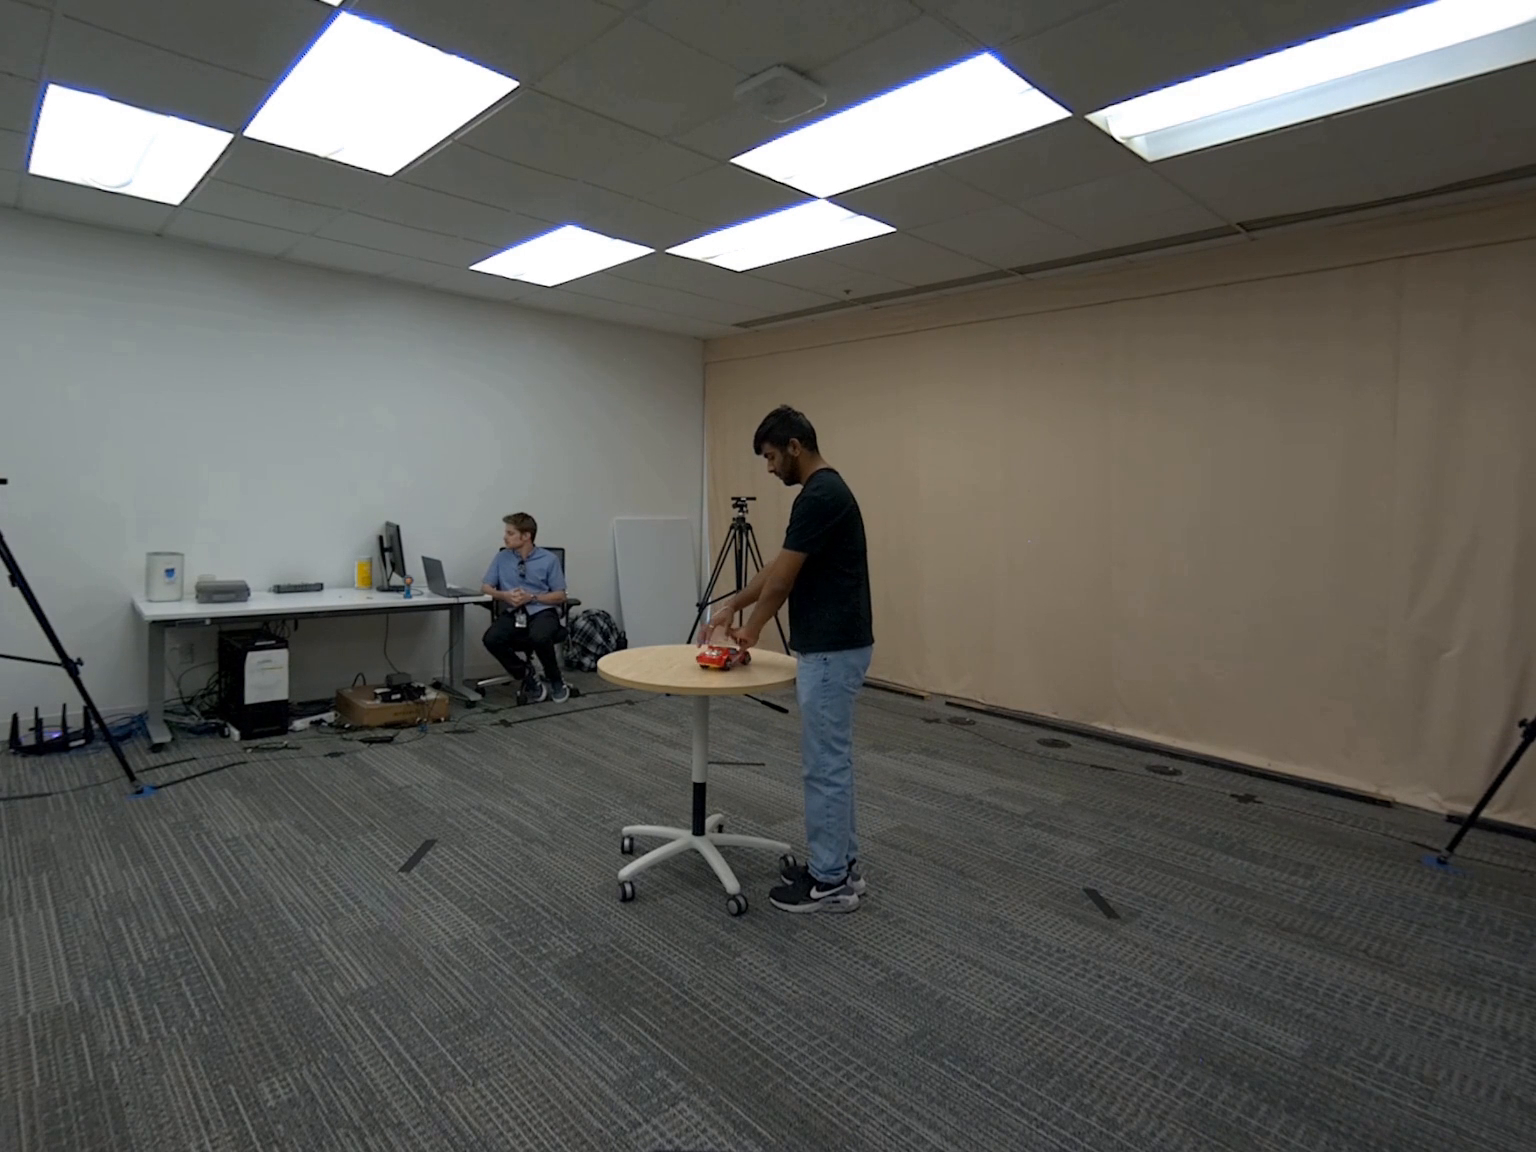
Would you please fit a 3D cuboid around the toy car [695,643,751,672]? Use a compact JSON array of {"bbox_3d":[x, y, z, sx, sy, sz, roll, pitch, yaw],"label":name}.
[{"bbox_3d":[-0.169,0.297,3.041,0.133,0.083,0.248,4,-5,28],"label":"toy car"}]
